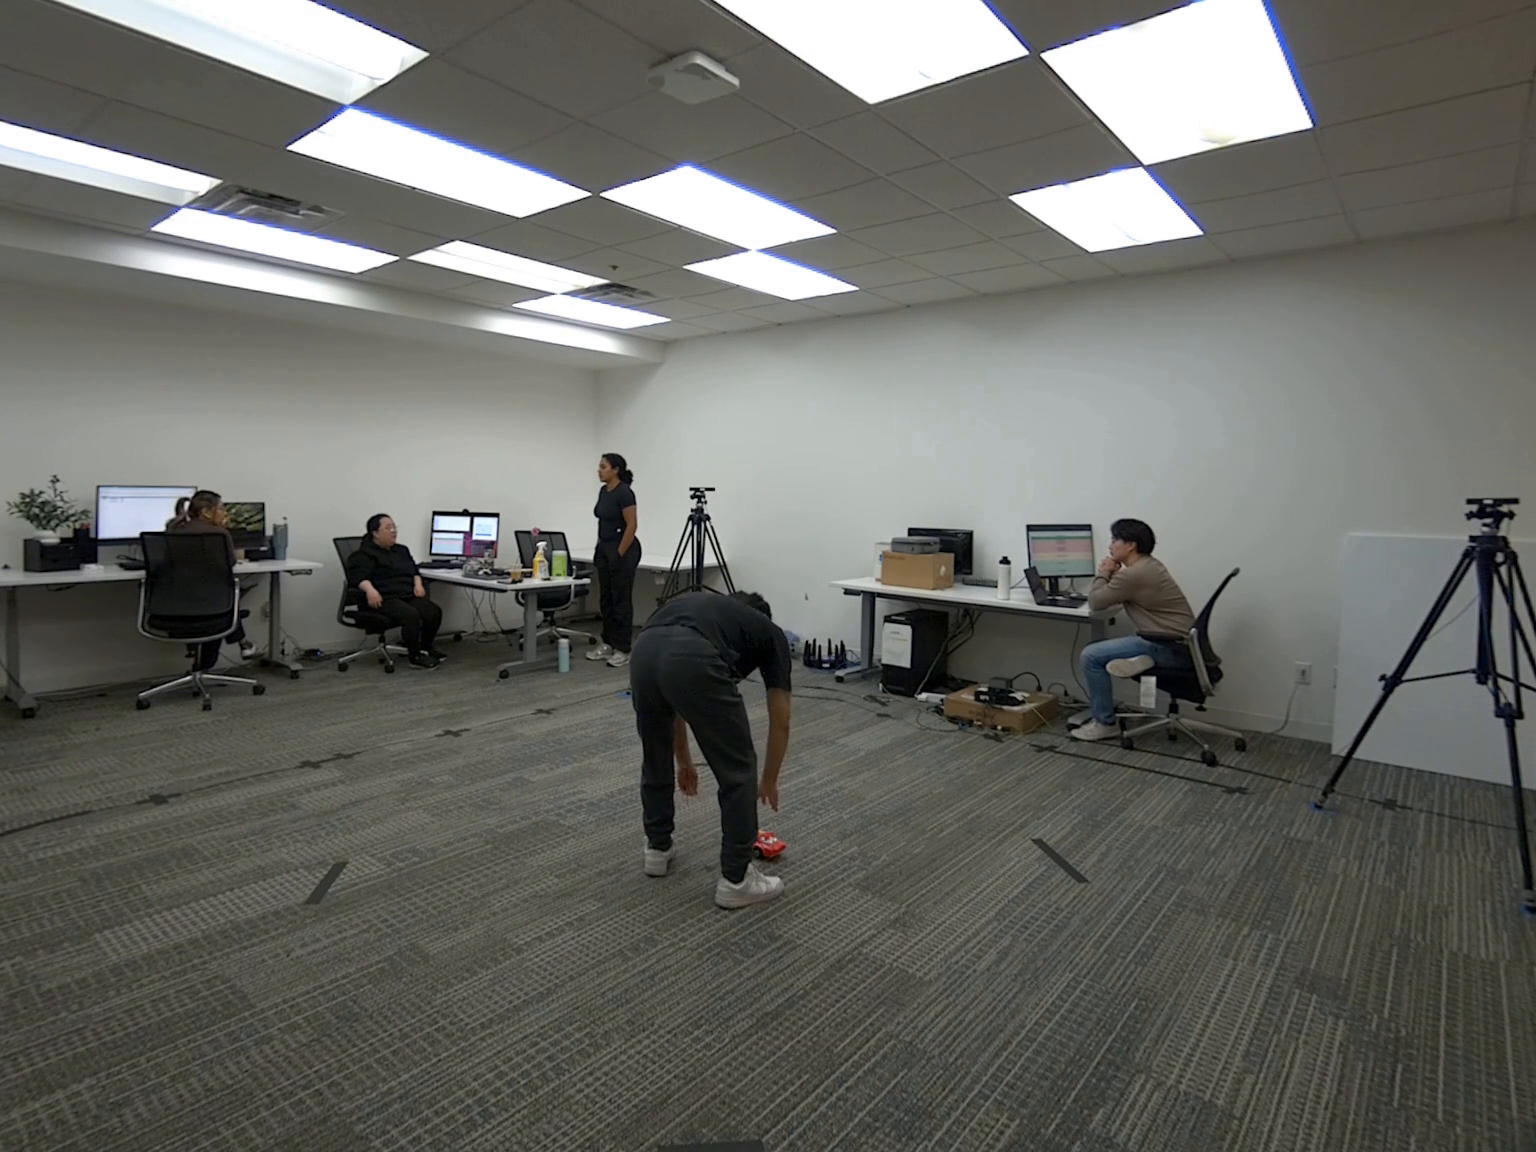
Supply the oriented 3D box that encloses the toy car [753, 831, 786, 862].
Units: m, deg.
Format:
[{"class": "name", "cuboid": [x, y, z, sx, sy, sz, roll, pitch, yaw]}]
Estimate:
[{"class": "toy car", "cuboid": [-0.046, 1.027, 3.268, 0.261, 0.083, 0.126, -8, -3, 42]}]
